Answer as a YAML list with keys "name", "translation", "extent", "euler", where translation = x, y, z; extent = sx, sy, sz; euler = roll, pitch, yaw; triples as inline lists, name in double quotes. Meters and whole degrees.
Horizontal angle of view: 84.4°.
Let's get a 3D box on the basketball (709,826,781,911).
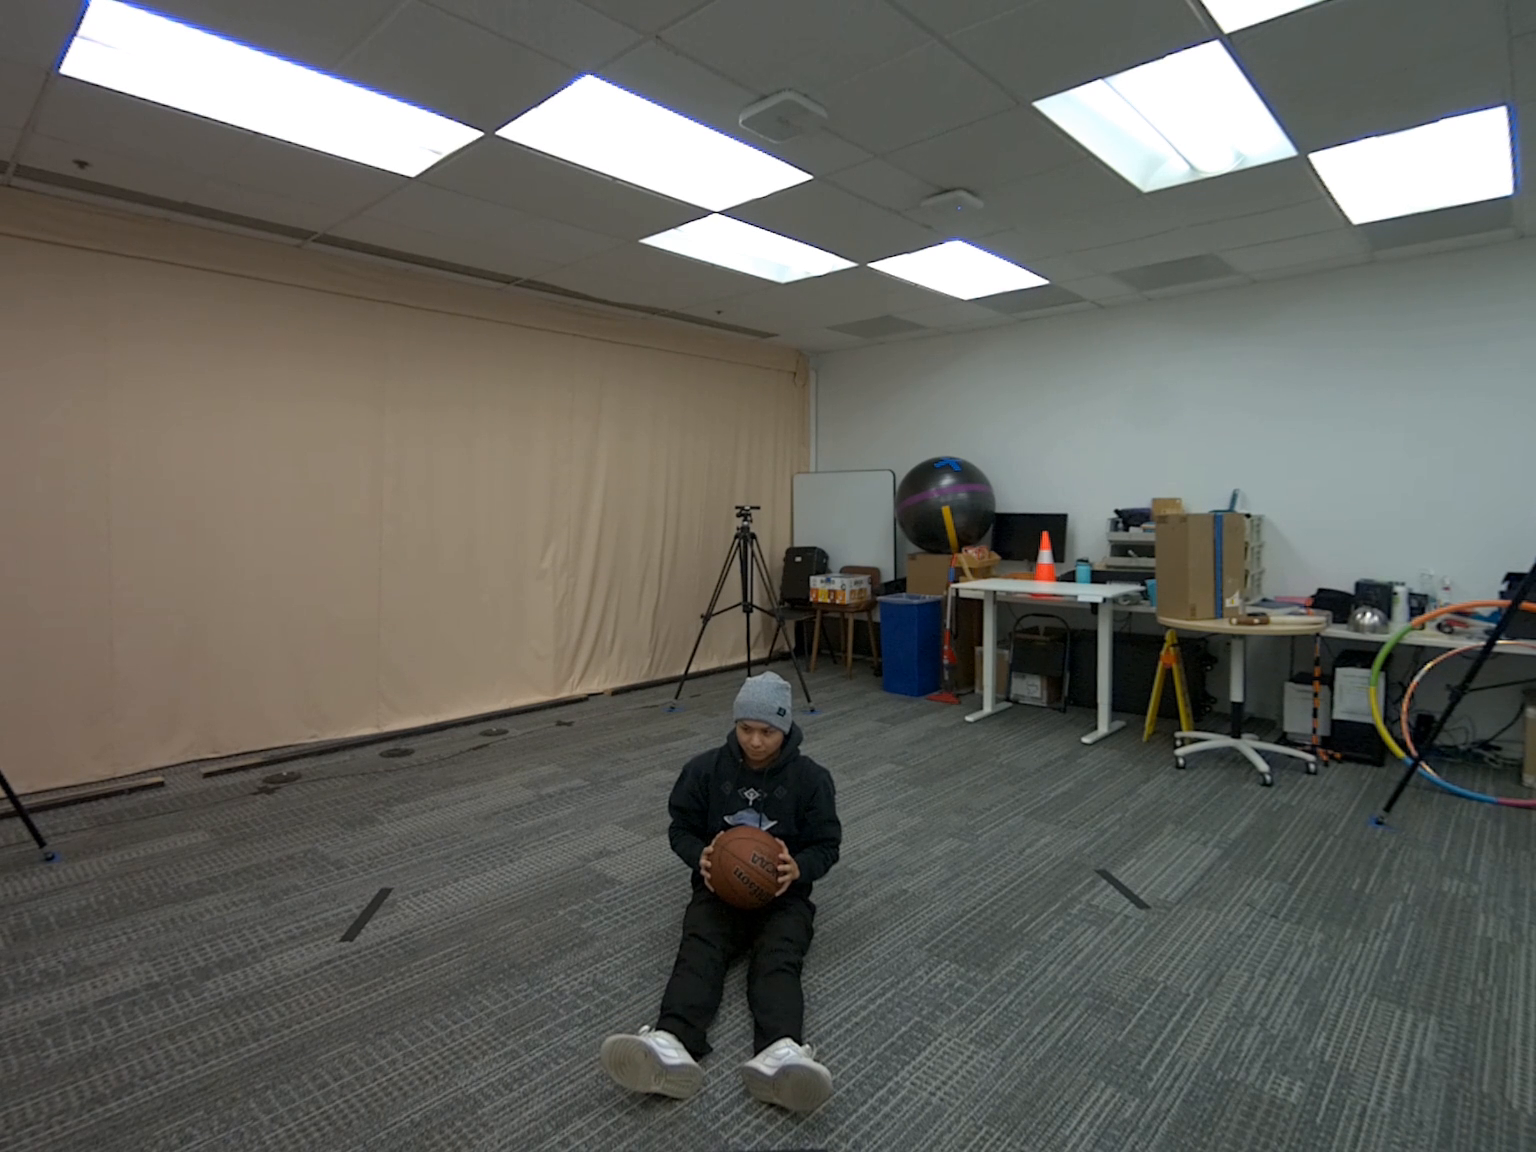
- name: "basketball"
  translation: [-0.063, 0.883, 2.574]
  extent: [0.236, 0.235, 0.237]
  euler: [0, 4, -2]
